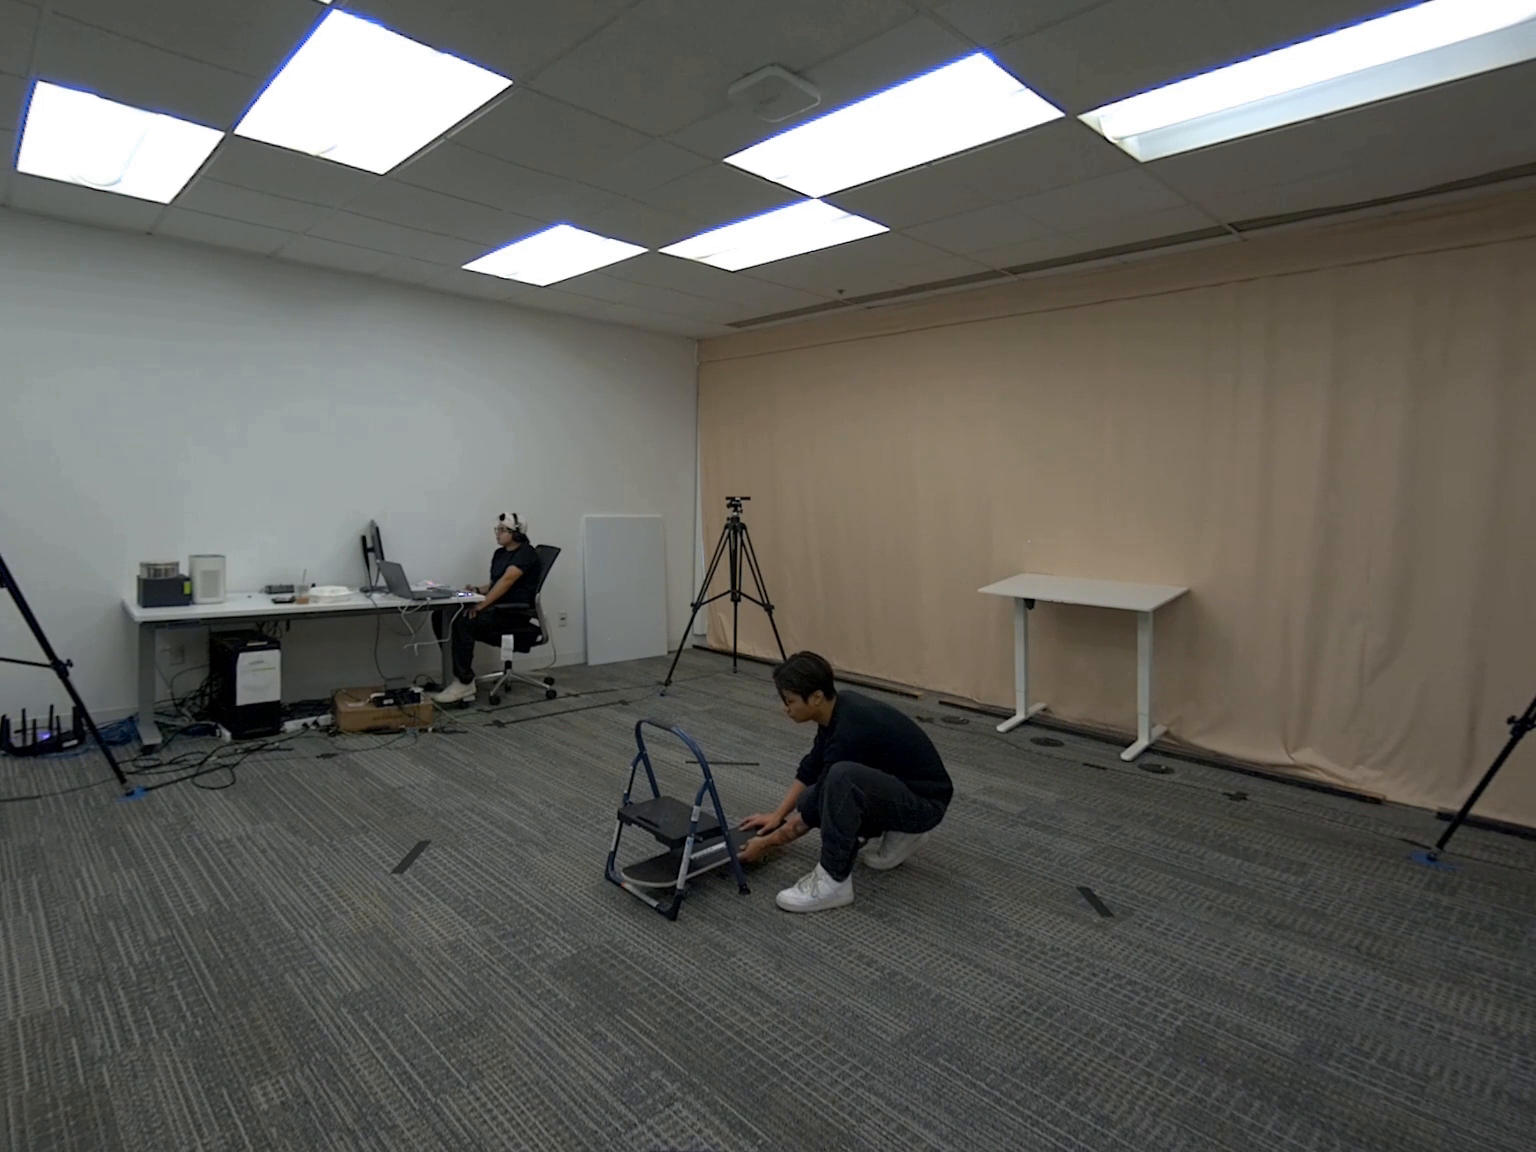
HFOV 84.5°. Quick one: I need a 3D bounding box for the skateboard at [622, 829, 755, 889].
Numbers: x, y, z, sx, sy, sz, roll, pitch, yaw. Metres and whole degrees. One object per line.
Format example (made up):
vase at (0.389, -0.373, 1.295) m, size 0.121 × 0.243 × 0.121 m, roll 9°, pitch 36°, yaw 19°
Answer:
skateboard at (-0.216, 1.043, 3.104) m, size 0.198 × 0.110 × 0.768 m, roll 5°, pitch 6°, yaw 41°
